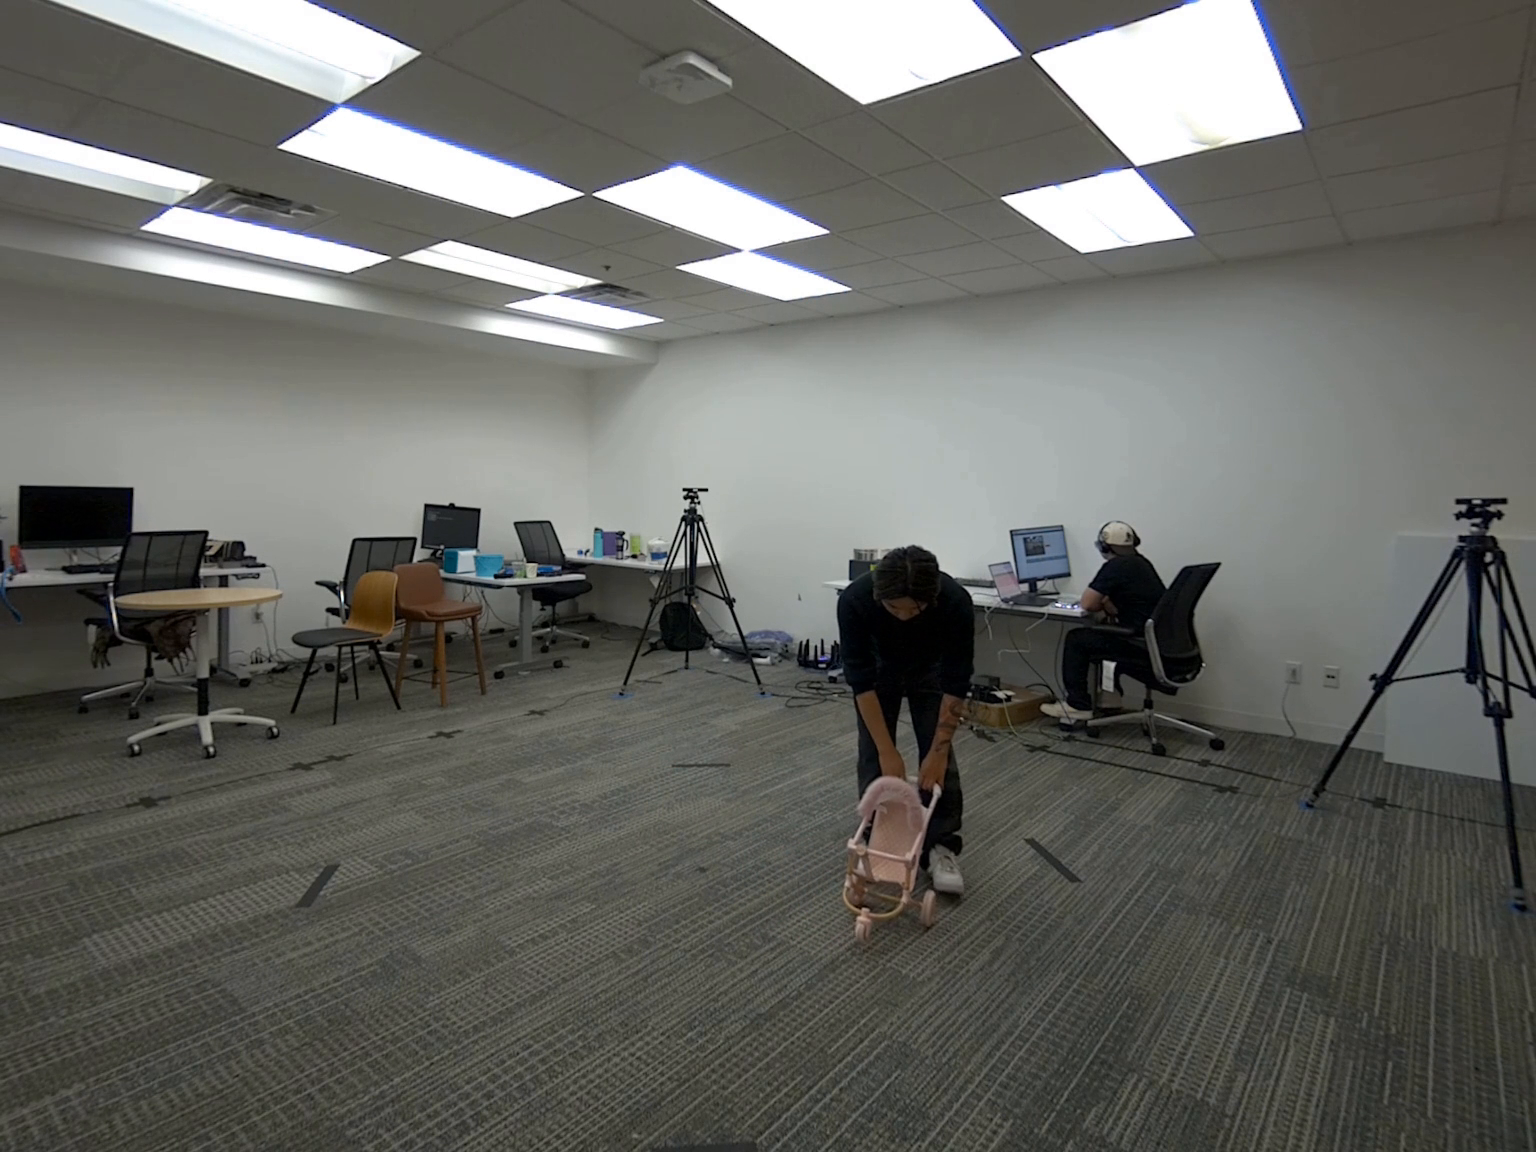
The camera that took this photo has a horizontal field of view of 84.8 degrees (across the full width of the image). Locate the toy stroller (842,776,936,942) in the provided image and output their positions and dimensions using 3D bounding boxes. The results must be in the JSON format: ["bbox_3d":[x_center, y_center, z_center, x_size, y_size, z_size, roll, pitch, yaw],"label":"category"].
[{"bbox_3d":[0.382,0.893,2.756,0.290,0.540,0.327,3,-17,34],"label":"toy stroller"}]
